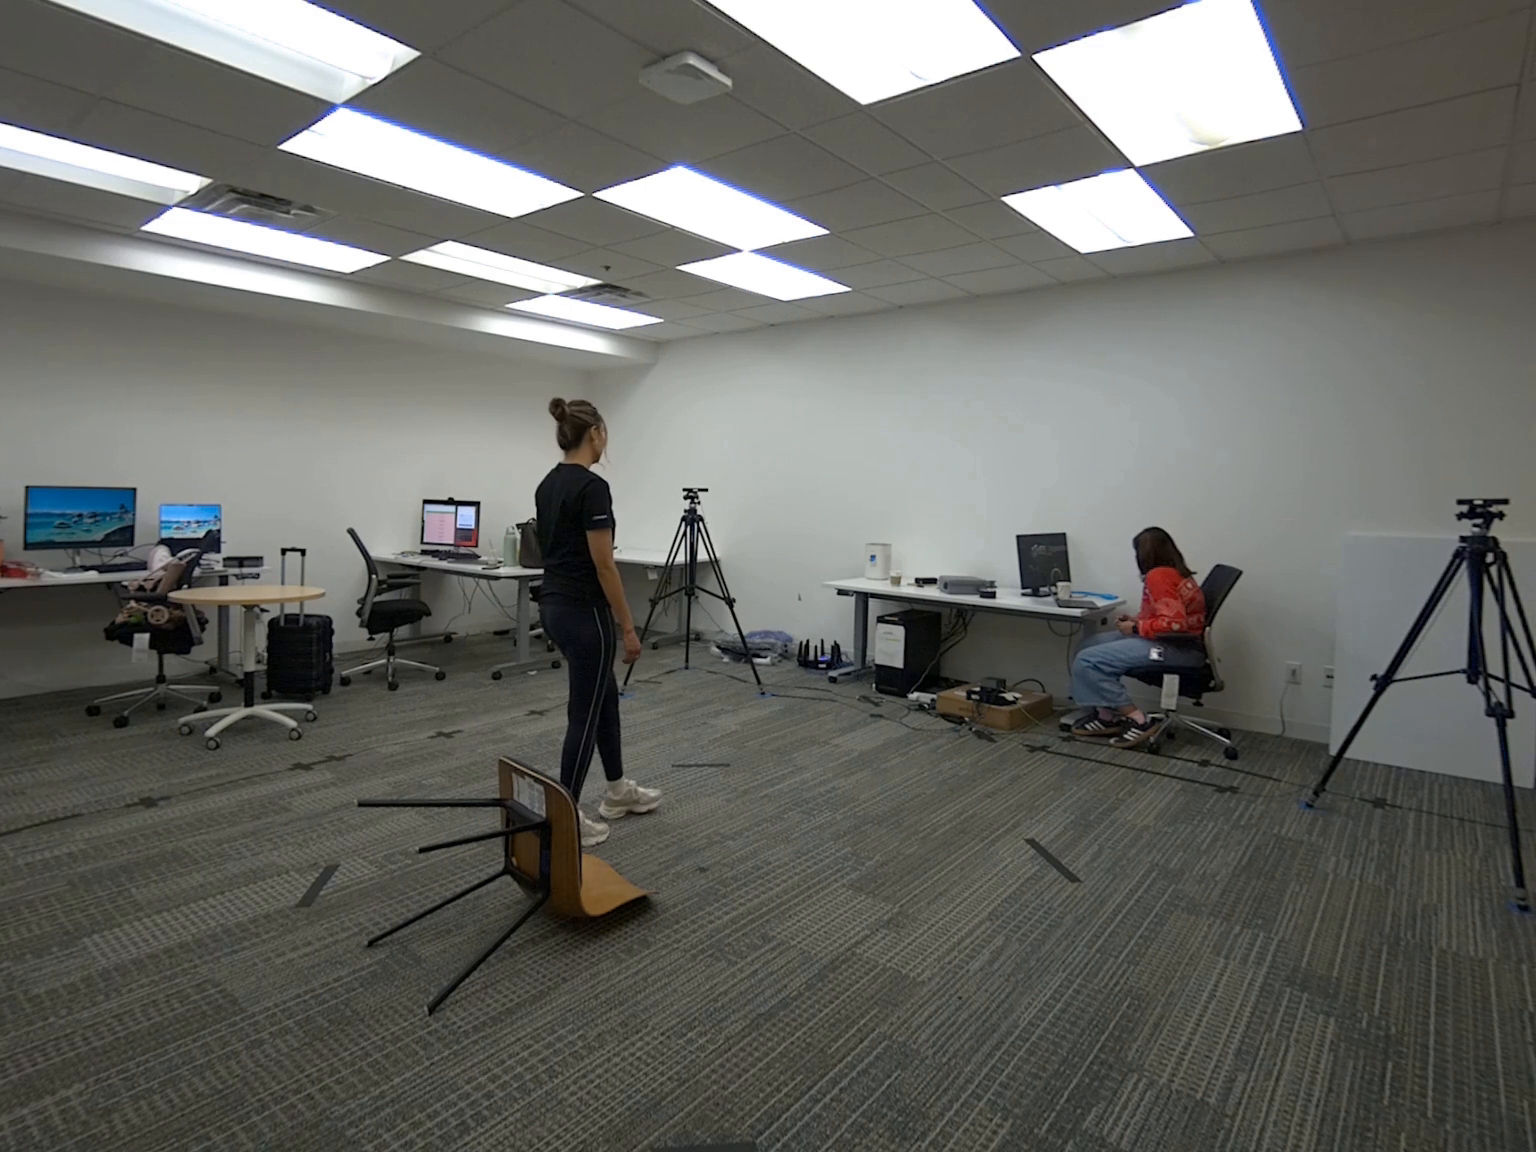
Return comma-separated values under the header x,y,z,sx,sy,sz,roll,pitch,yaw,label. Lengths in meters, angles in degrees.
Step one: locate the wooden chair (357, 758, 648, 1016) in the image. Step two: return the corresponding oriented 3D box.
x,y,z,sx,sy,sz,roll,pitch,yaw,label
-0.756,0.843,2.653,0.850,0.522,0.494,-3,5,-44,wooden chair
